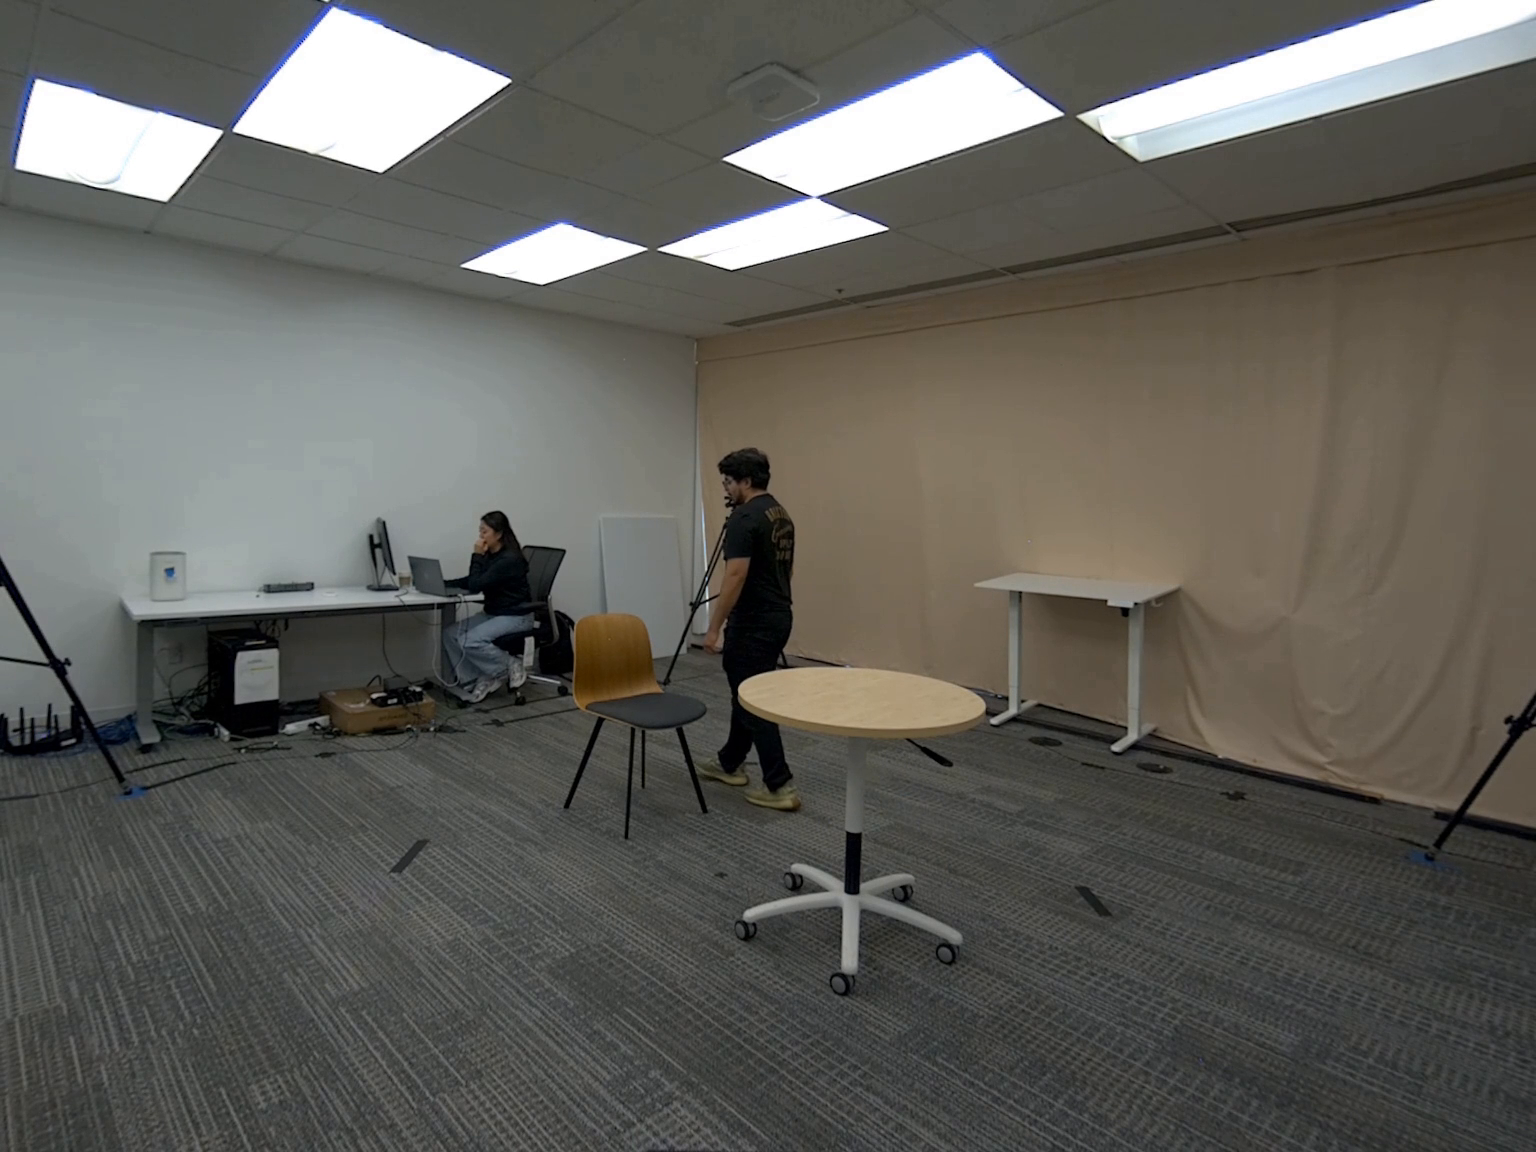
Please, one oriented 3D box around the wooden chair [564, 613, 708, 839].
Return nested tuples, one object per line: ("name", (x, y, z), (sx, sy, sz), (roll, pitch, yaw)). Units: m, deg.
("wooden chair", (-0.573, 0.615, 3.680), (0.535, 0.877, 0.467), (-1, 0, 45))
